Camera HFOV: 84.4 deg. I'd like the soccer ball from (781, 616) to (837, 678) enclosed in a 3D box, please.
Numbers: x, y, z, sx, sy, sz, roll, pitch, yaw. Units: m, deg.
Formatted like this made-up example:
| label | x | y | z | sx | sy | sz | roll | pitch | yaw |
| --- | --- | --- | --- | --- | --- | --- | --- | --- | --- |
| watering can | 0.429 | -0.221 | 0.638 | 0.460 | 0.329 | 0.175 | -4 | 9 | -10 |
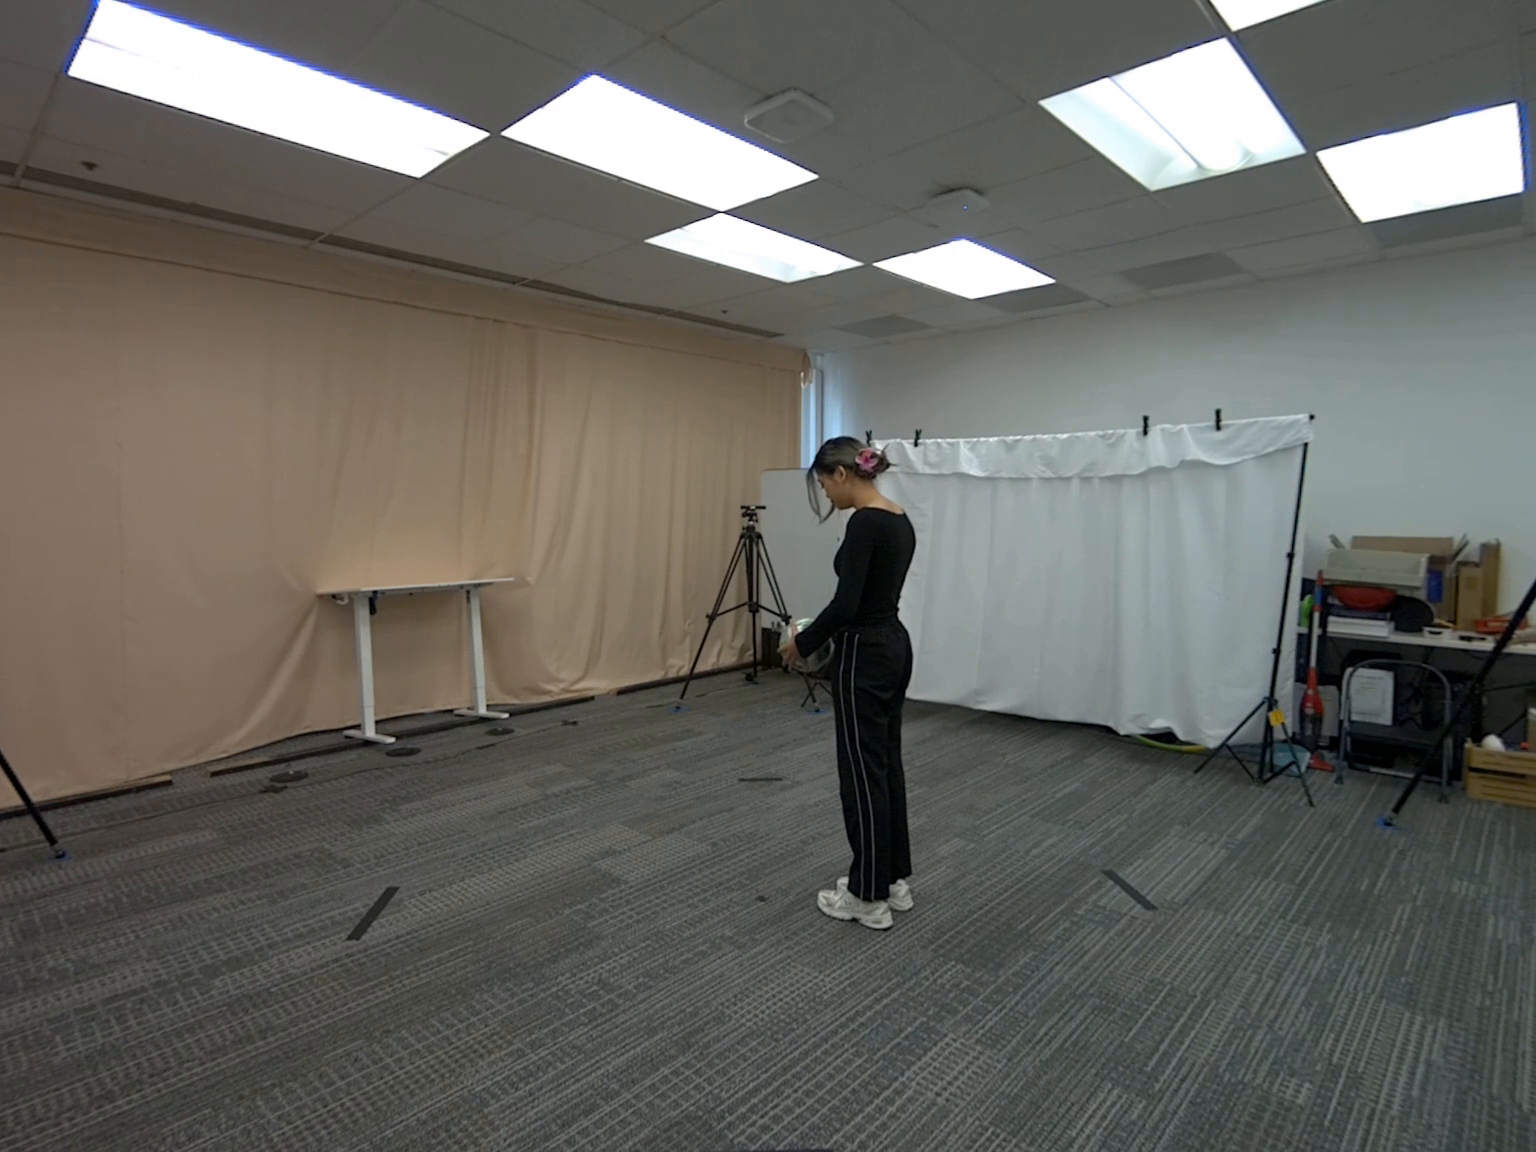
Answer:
| label | x | y | z | sx | sy | sz | roll | pitch | yaw |
| --- | --- | --- | --- | --- | --- | --- | --- | --- | --- |
| soccer ball | 0.146 | 0.245 | 2.981 | 0.187 | 0.187 | 0.188 | 0 | 4 | -2 |
